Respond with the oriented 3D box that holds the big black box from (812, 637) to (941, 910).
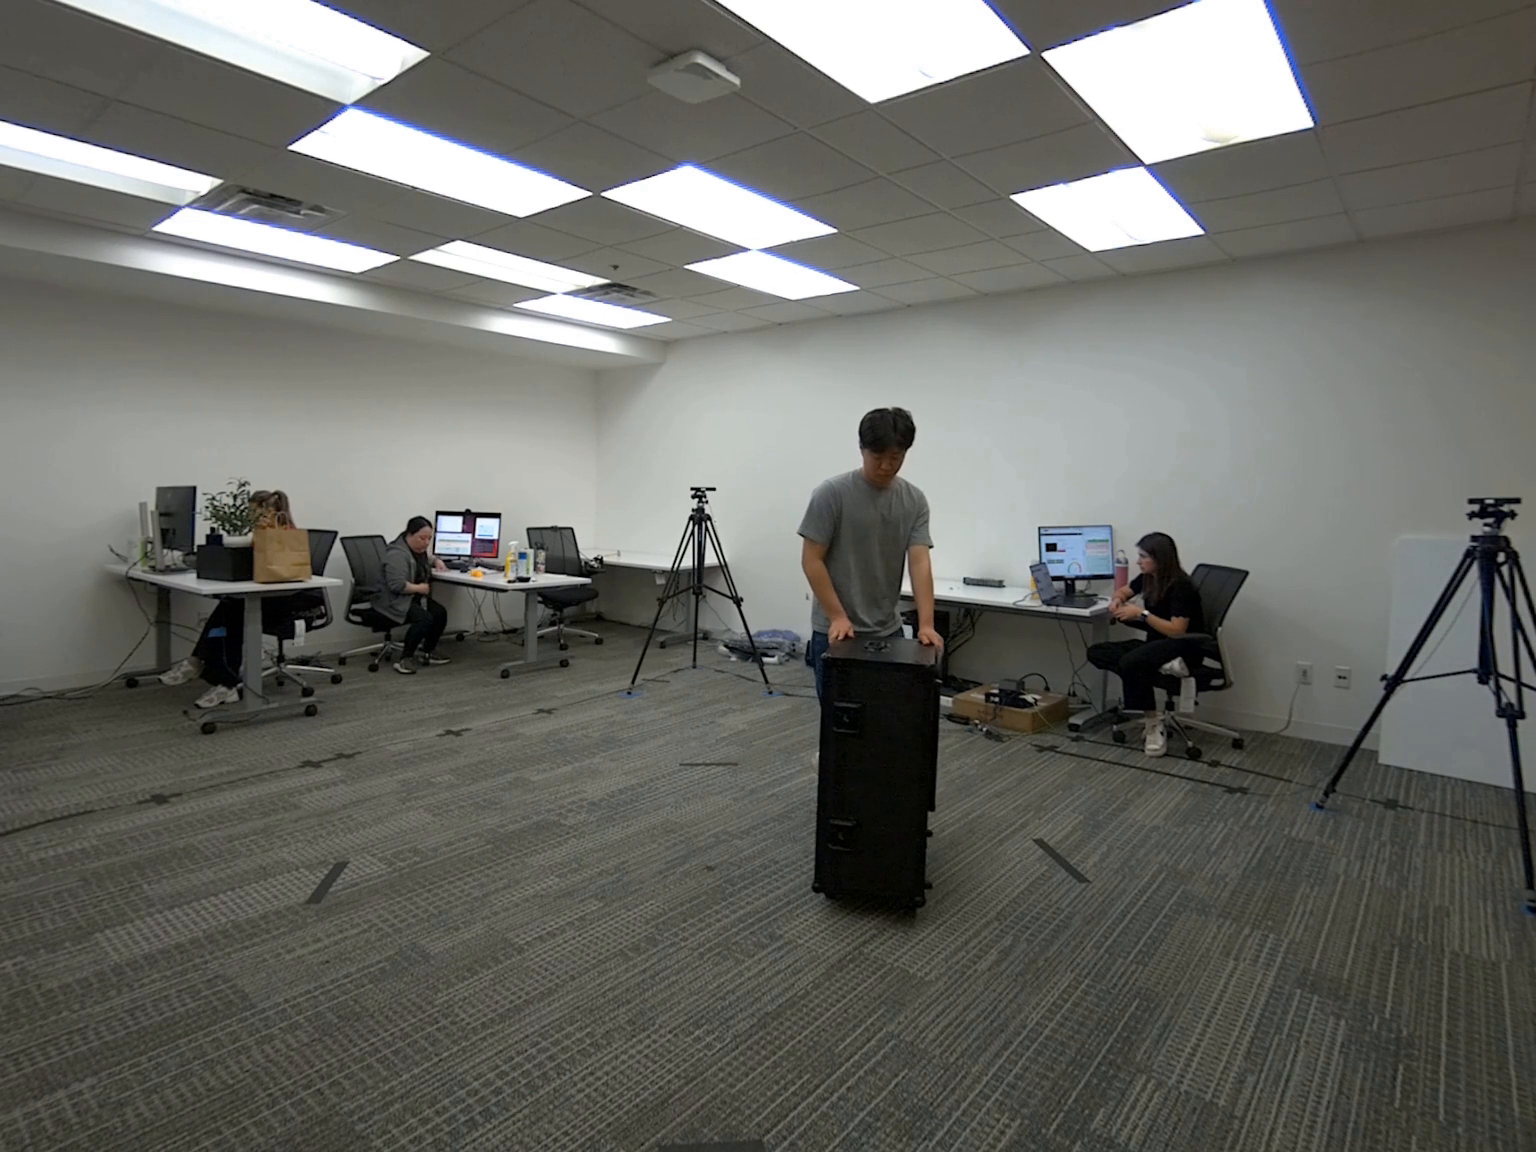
[{"bbox_3d":[0.380,0.668,2.960,0.402,0.859,0.515,3,3,13],"label":"big black box"}]
